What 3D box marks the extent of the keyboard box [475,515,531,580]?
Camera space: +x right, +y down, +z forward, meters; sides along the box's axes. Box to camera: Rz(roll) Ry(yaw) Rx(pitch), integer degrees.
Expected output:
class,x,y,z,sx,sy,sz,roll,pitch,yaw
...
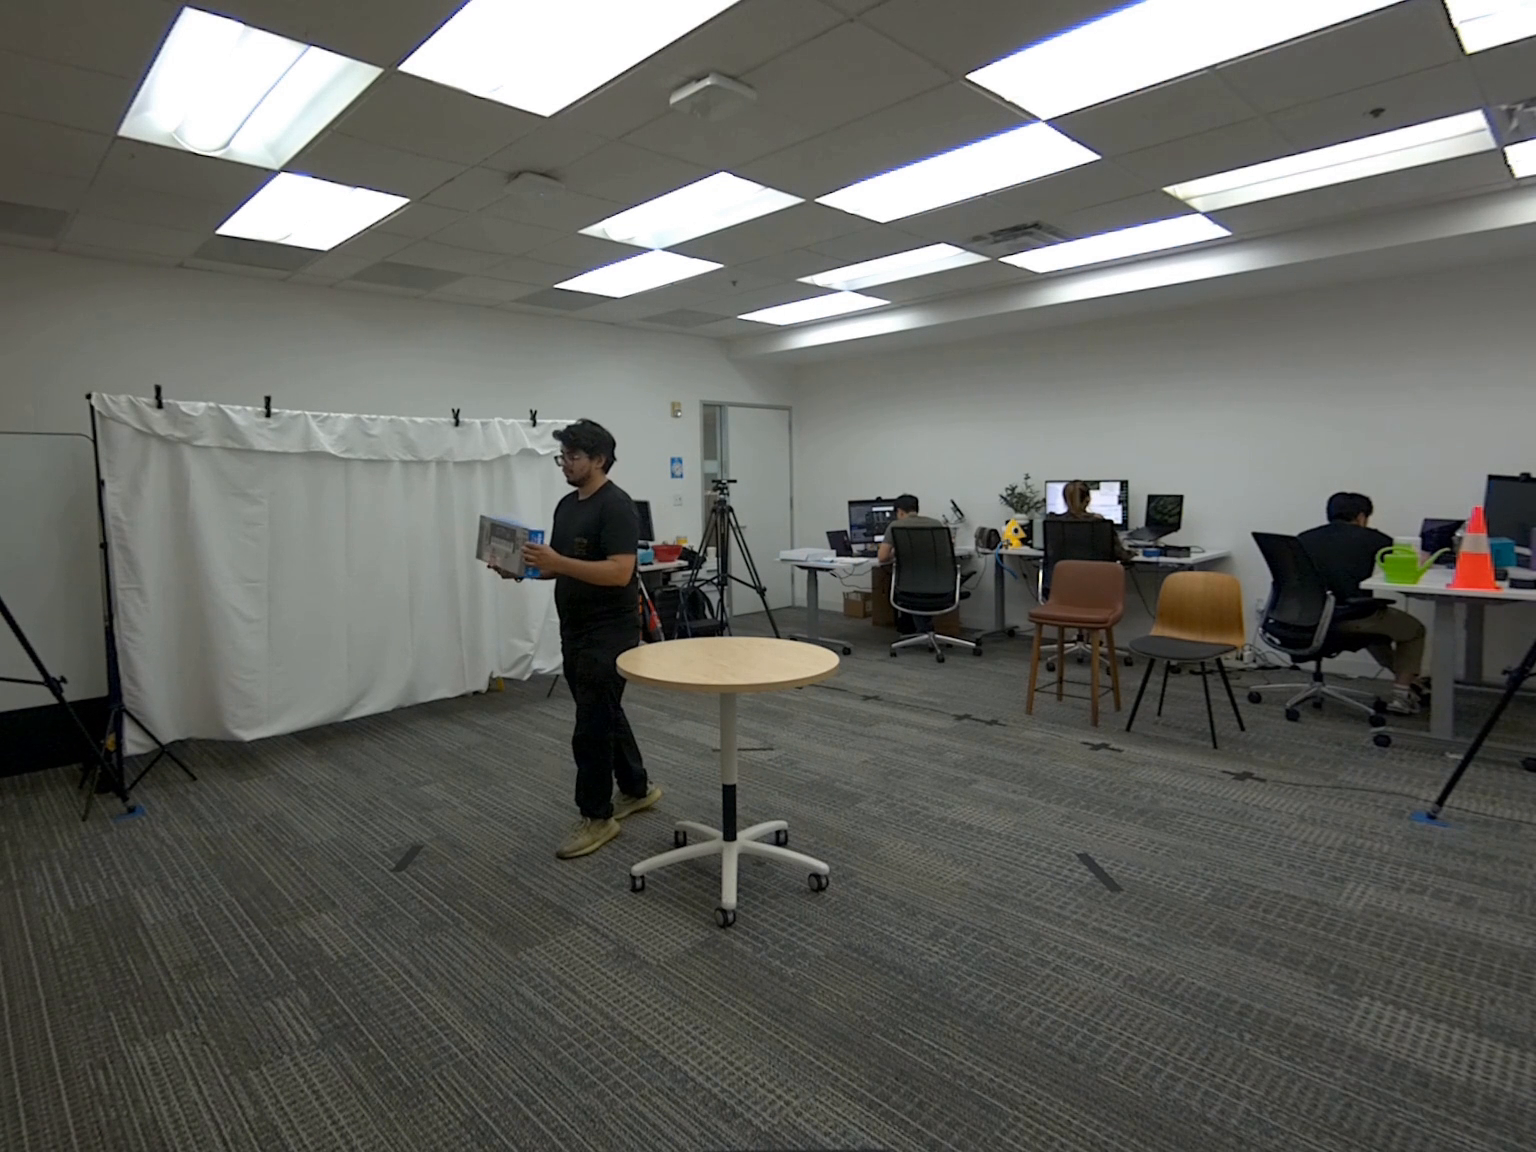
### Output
class,x,y,z,sx,sy,sz,roll,pitch,yaw
keyboard box,-0.957,-0.114,3.178,0.057,0.175,0.452,2,8,-41
